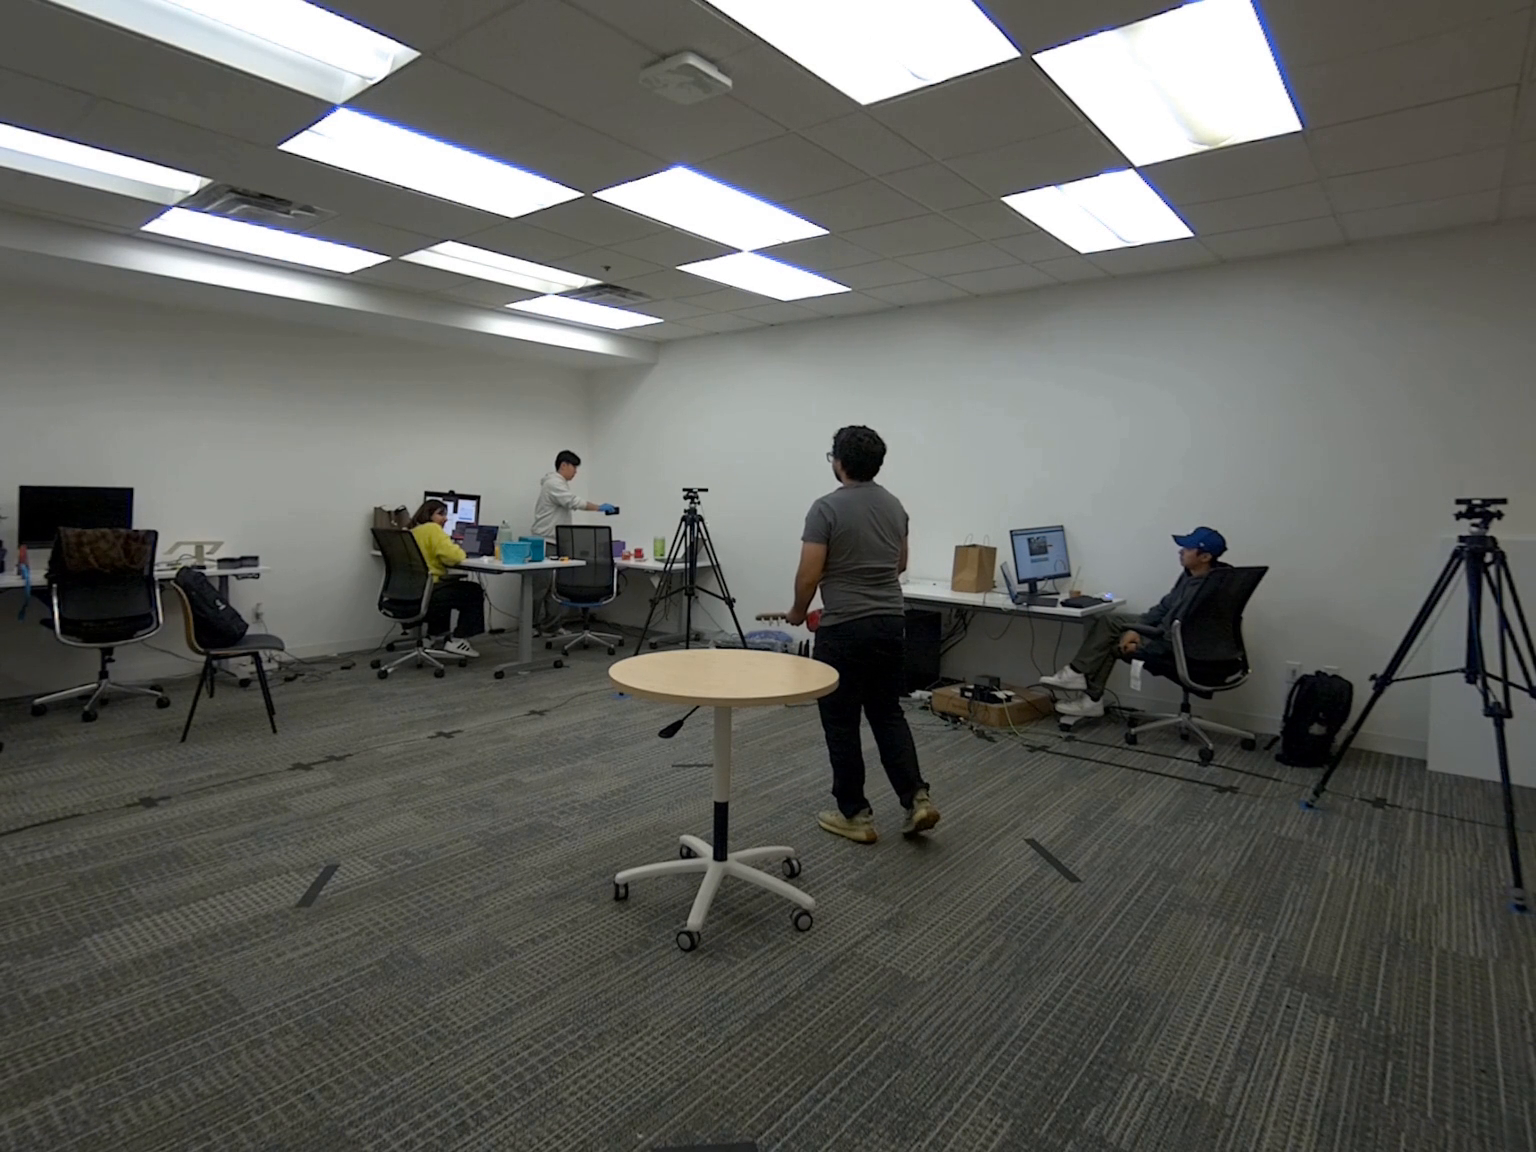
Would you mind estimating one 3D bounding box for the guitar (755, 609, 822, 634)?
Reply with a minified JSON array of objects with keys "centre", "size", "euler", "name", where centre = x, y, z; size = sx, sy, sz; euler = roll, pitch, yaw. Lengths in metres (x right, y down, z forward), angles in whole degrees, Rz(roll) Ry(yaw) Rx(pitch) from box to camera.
[{"centre":[0.169,0.191,3.683],"size":[0.497,0.072,0.189],"euler":[-5,-23,-2],"name":"guitar"}]
